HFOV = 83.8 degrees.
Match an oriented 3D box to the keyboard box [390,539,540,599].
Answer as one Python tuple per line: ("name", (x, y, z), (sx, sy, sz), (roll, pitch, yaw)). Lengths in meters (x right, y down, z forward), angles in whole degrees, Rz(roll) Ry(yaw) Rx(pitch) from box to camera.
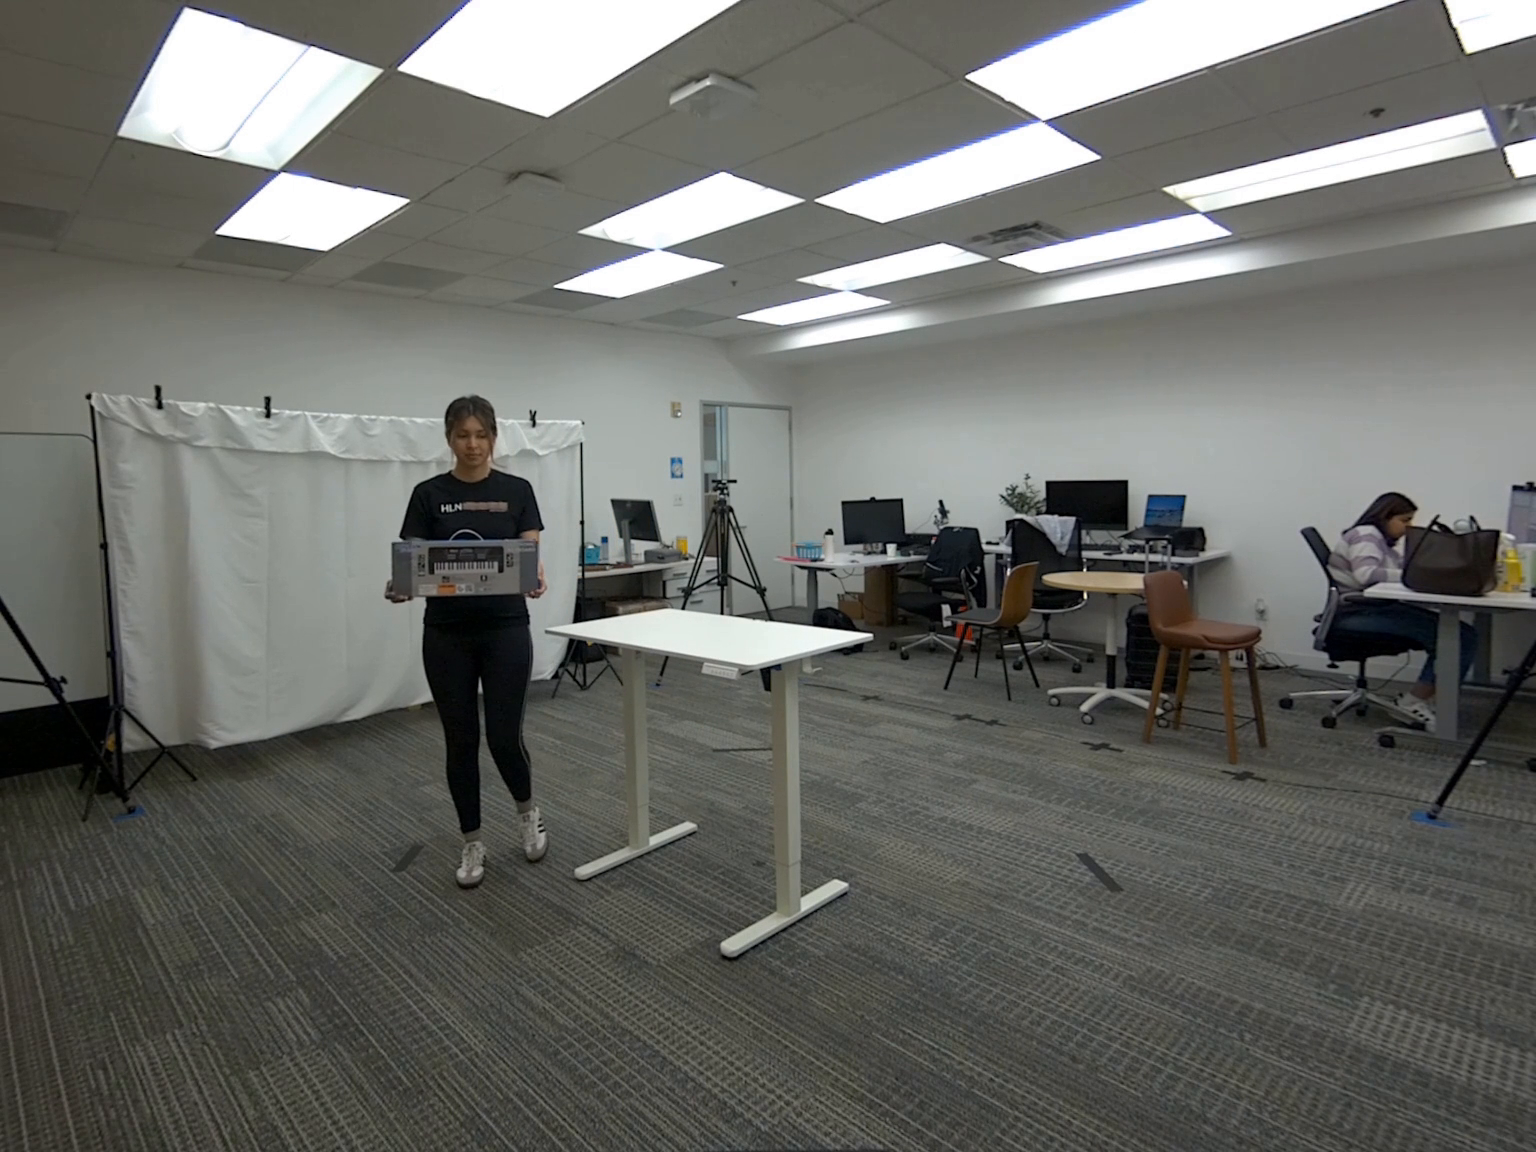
("keyboard box", (-0.955, -0.022, 2.692), (0.430, 0.175, 0.060), (-2, 6, -17))
